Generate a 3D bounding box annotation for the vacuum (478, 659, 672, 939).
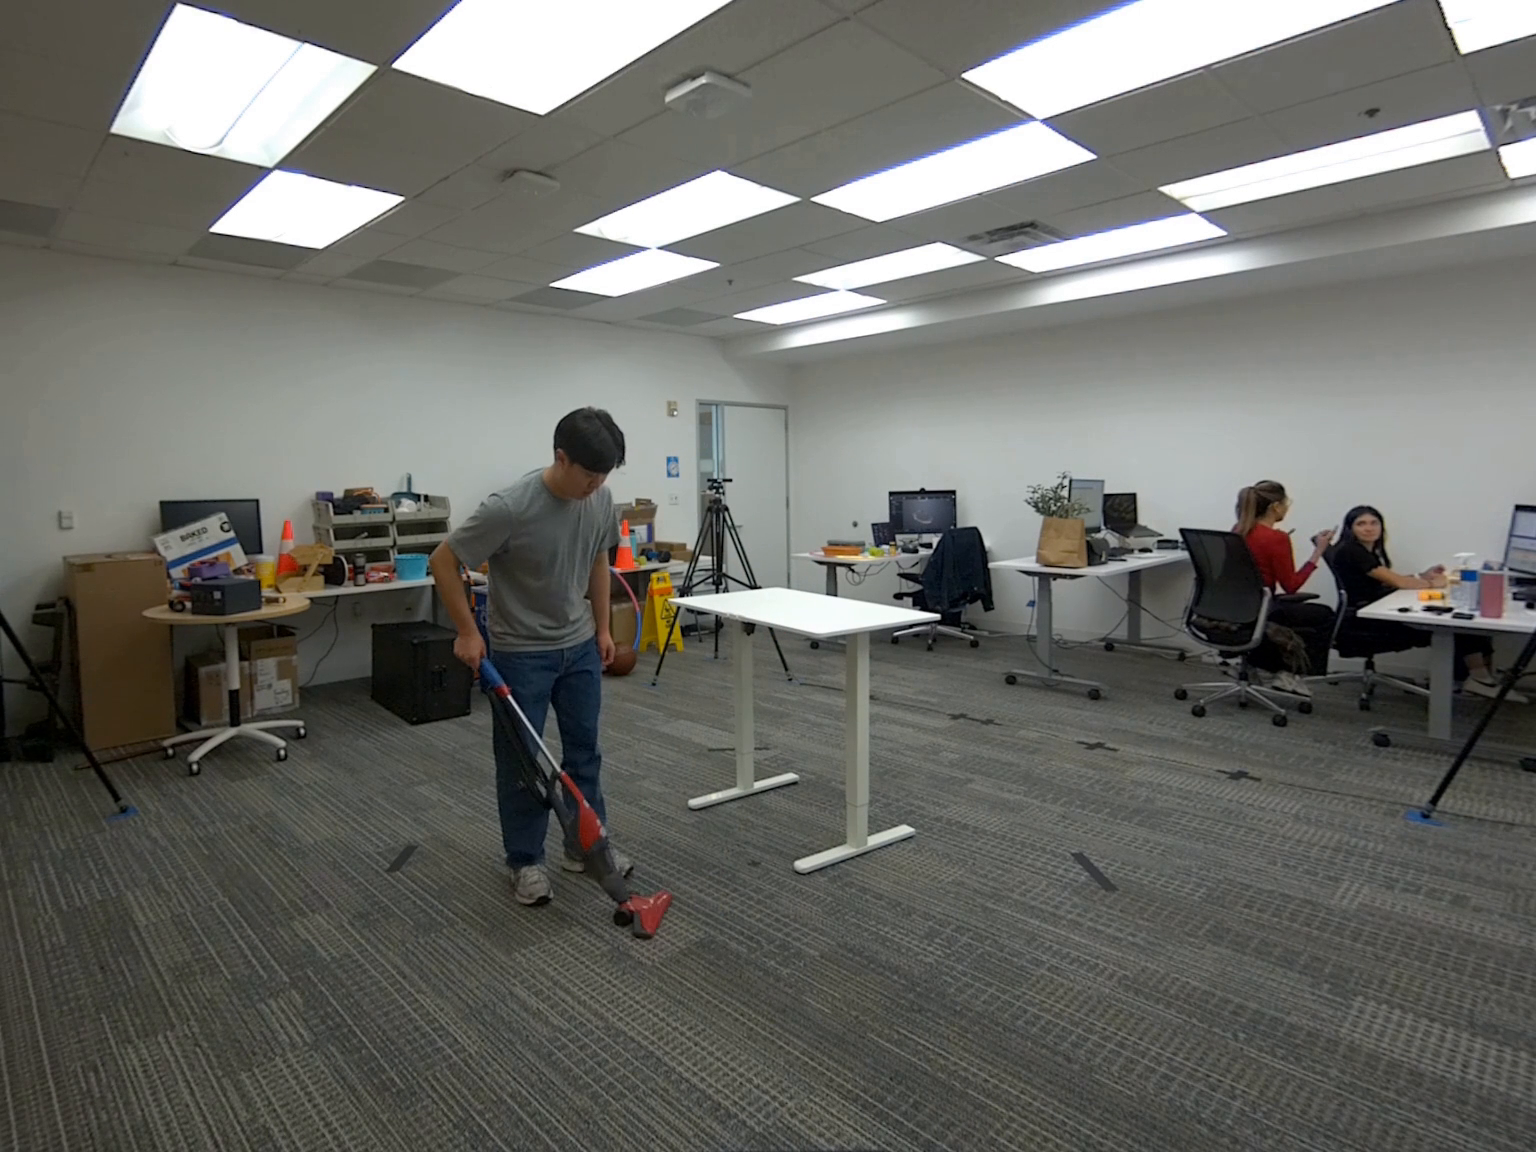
[{"bbox_3d":[-0.677,0.660,2.747,0.144,1.052,0.251,-35,-2,10],"label":"vacuum"}]
